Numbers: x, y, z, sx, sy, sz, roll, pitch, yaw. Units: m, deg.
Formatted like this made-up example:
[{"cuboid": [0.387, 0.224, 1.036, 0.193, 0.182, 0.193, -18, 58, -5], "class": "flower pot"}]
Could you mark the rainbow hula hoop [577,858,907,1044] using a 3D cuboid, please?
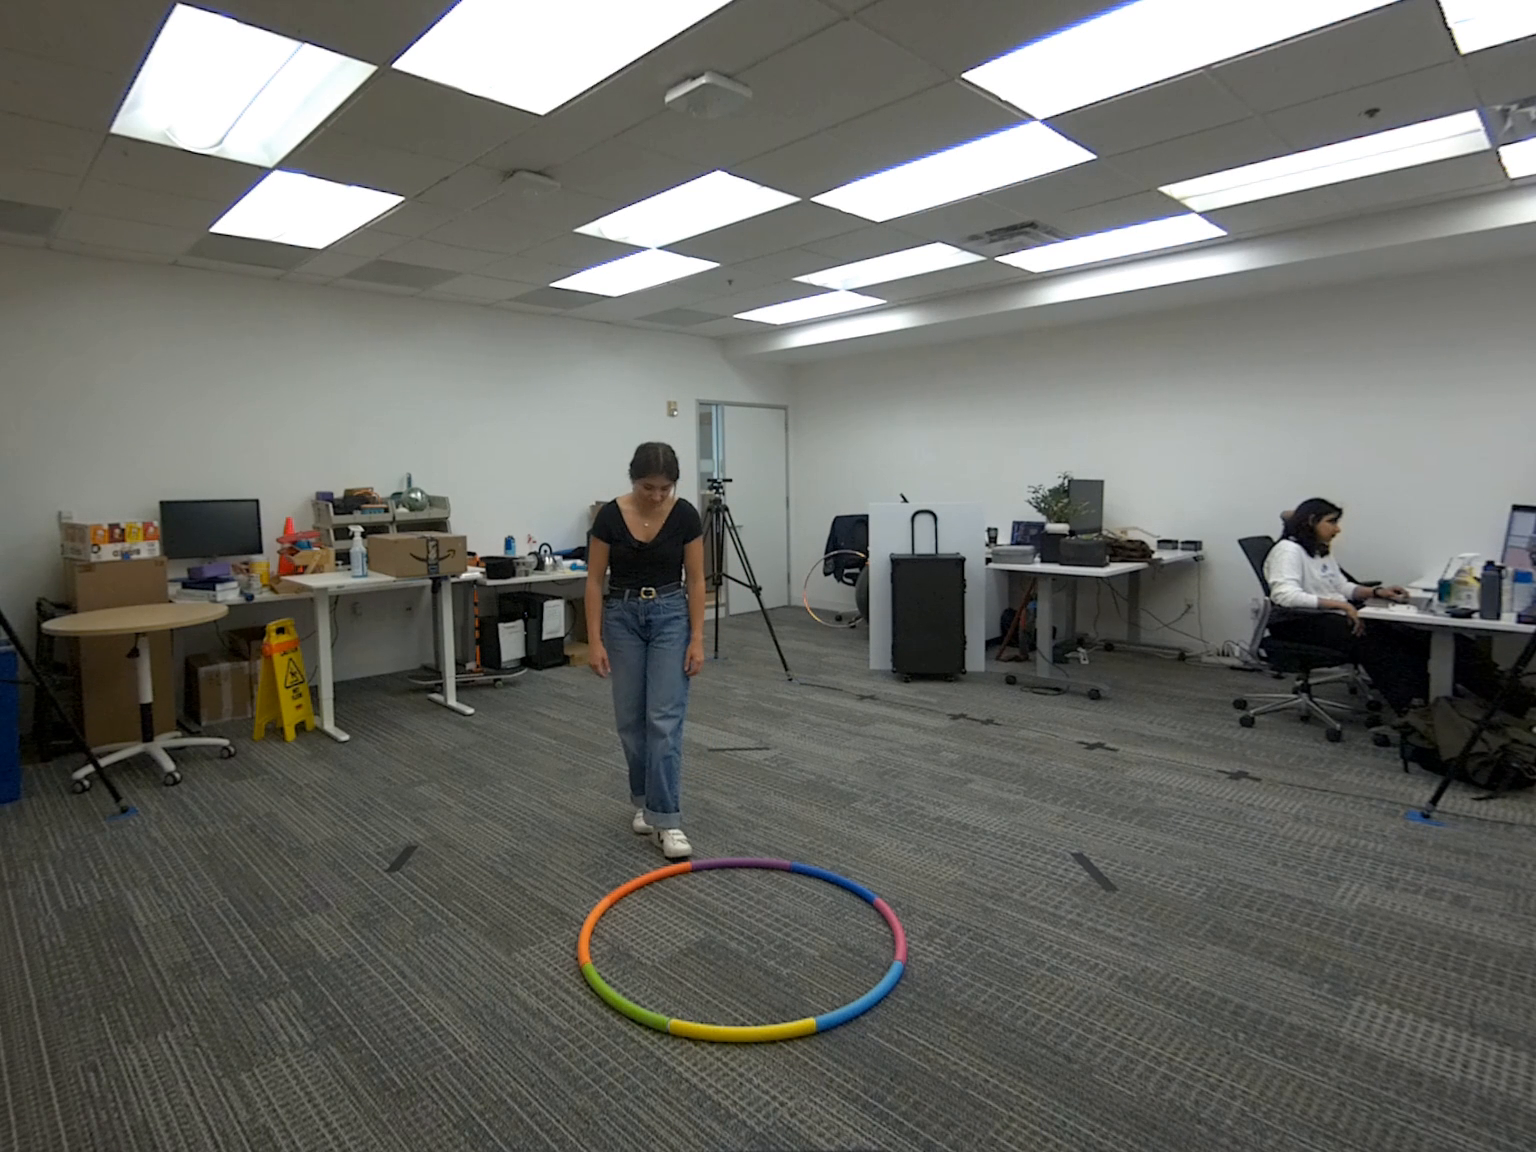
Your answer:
[{"cuboid": [-0.076, 1.076, 2.614, 0.978, 0.035, 0.984, -2, 7, -2], "class": "rainbow hula hoop"}]
